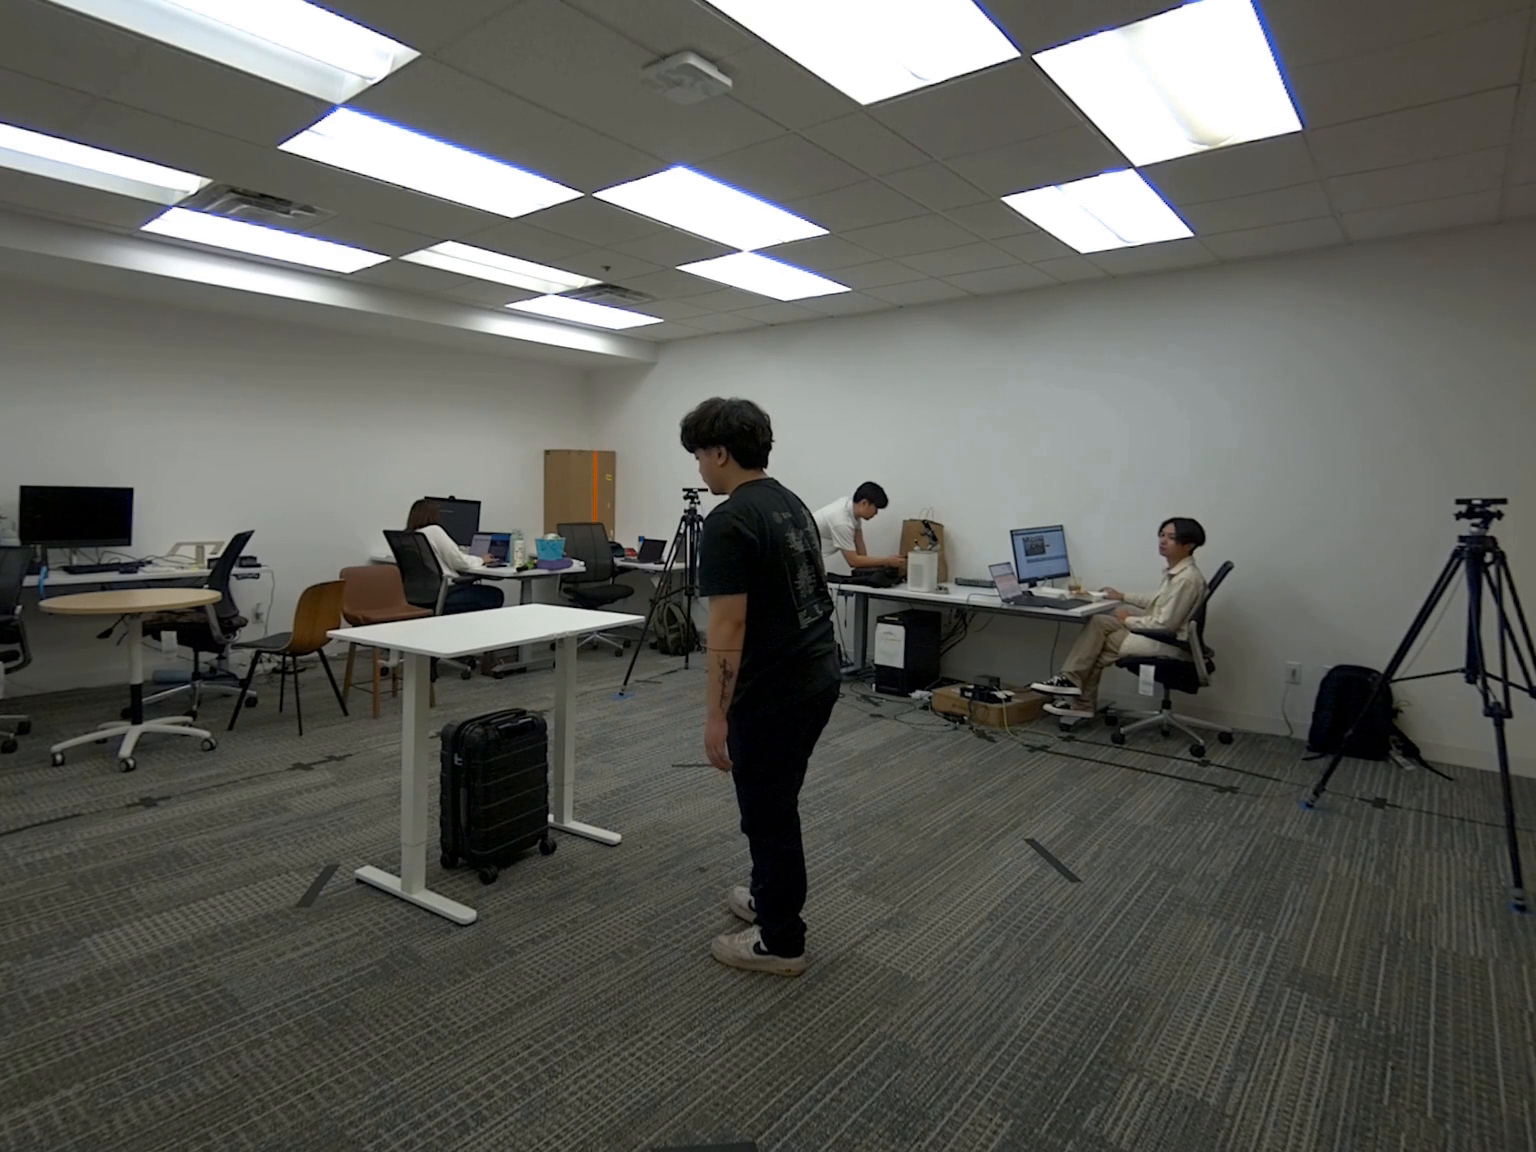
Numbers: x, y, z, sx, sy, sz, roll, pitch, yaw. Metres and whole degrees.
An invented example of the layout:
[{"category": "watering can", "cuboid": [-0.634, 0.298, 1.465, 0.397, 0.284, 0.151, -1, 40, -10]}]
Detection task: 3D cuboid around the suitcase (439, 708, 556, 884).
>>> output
[{"category": "suitcase", "cuboid": [-1.027, 0.787, 3.157, 0.255, 0.549, 0.365, -1, 0, 31]}]
